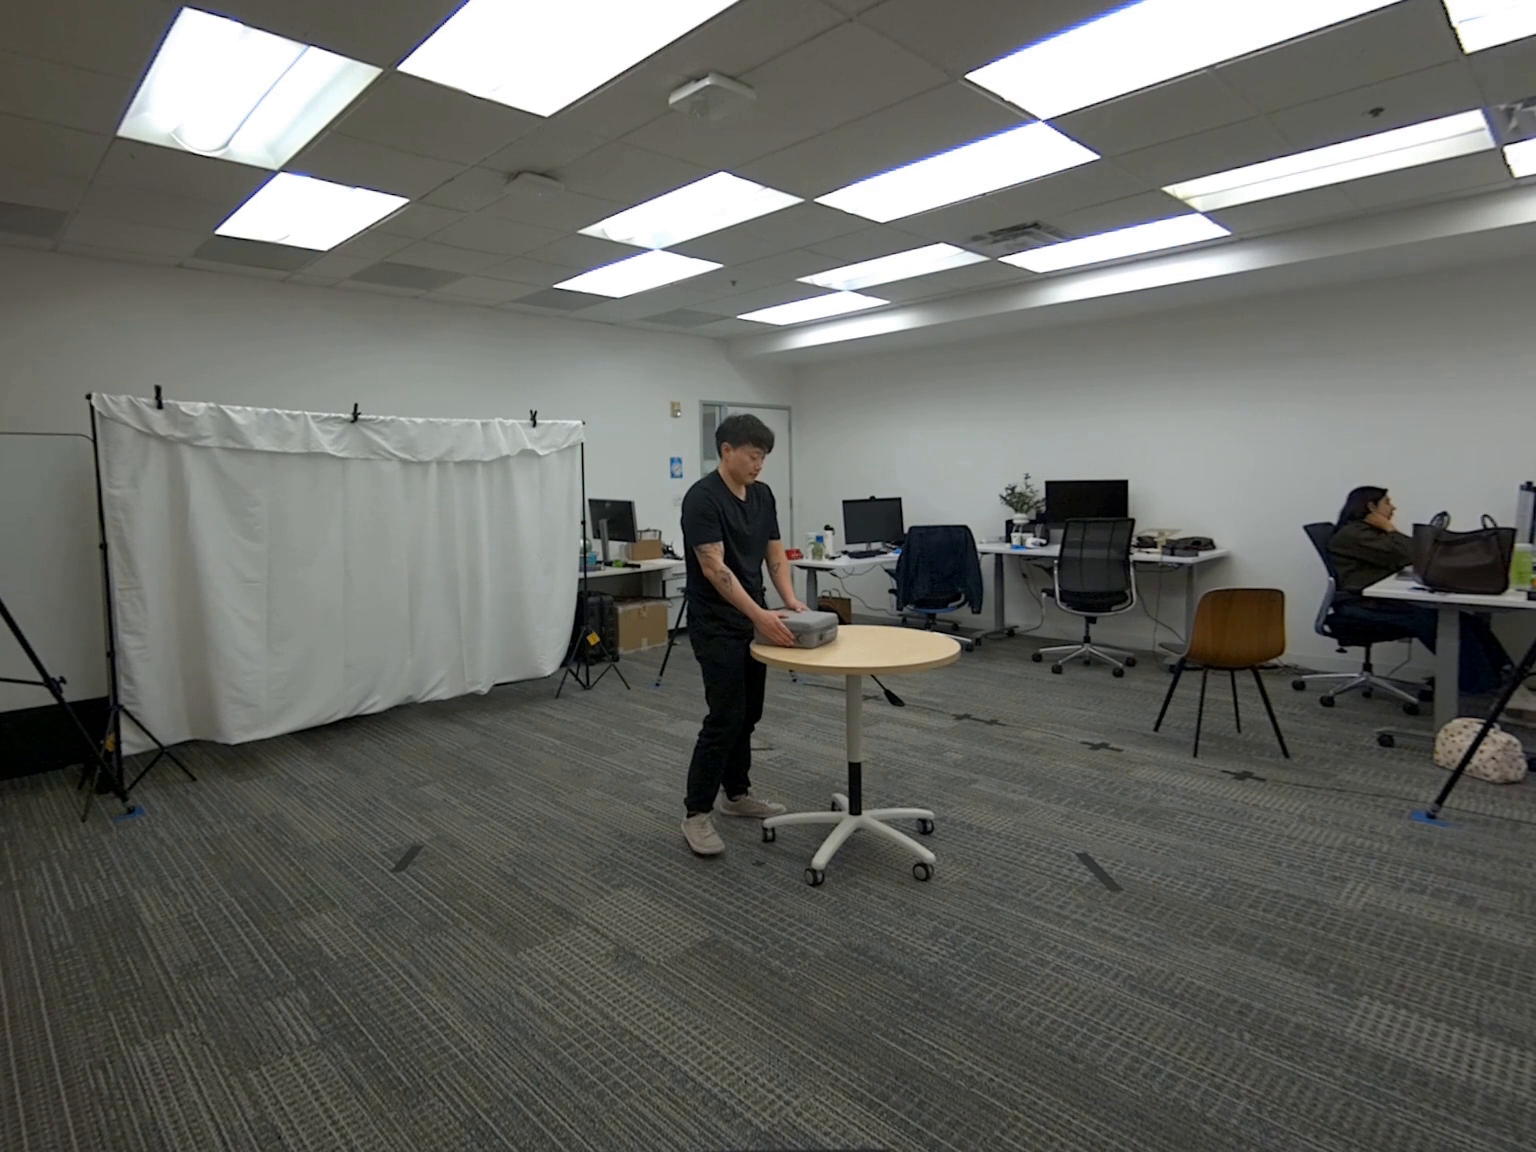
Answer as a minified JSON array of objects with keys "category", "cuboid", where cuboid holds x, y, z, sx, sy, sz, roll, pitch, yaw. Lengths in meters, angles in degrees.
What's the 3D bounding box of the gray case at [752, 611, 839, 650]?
[{"category":"gray case","cuboid":[0.112,0.195,3.212,0.267,0.104,0.251,2,5,27]}]
